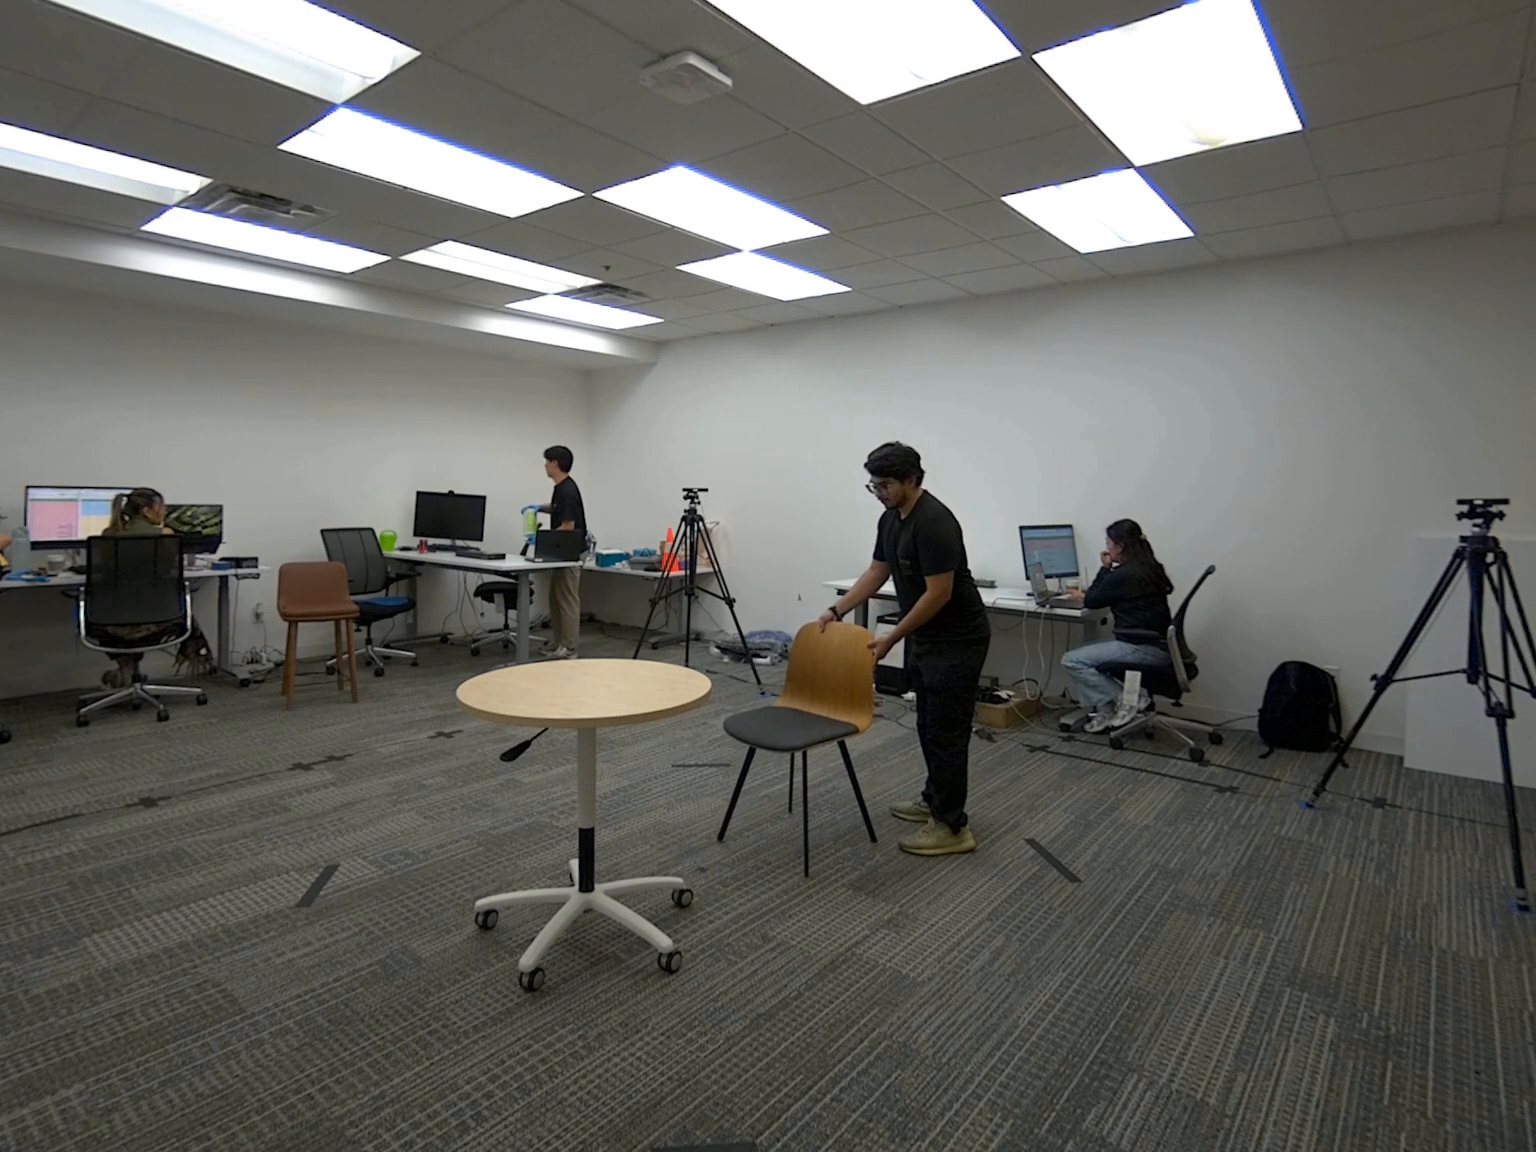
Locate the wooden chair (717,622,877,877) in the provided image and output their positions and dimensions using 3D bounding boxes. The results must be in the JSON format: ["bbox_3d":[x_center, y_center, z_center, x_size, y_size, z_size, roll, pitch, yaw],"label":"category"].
[{"bbox_3d":[0.110,0.626,3.350,0.494,0.878,0.505,5,0,42],"label":"wooden chair"}]
